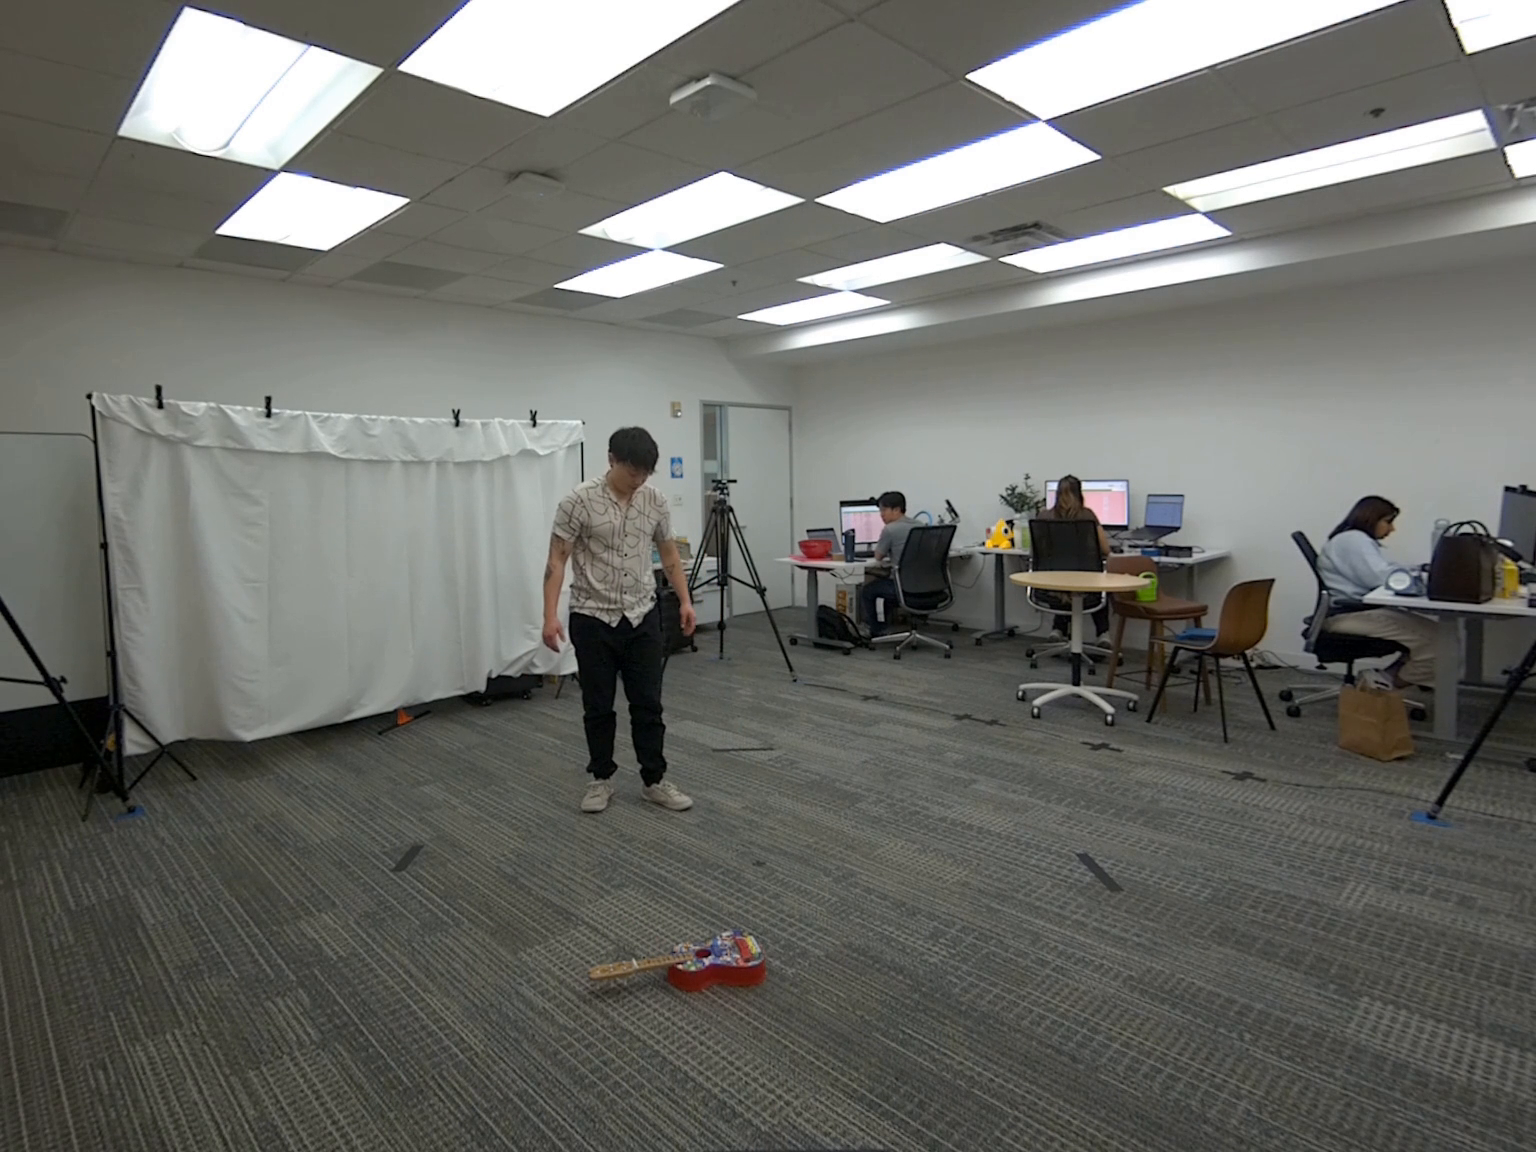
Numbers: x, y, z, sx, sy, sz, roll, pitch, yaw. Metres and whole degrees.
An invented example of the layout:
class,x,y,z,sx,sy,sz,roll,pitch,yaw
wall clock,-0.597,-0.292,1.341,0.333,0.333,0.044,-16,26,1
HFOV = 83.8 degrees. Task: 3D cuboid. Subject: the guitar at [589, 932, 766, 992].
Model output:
class,x,y,z,sx,sy,sz,roll,pitch,yaw
guitar,-0.255,1.098,2.429,0.494,0.070,0.195,-2,7,-7
